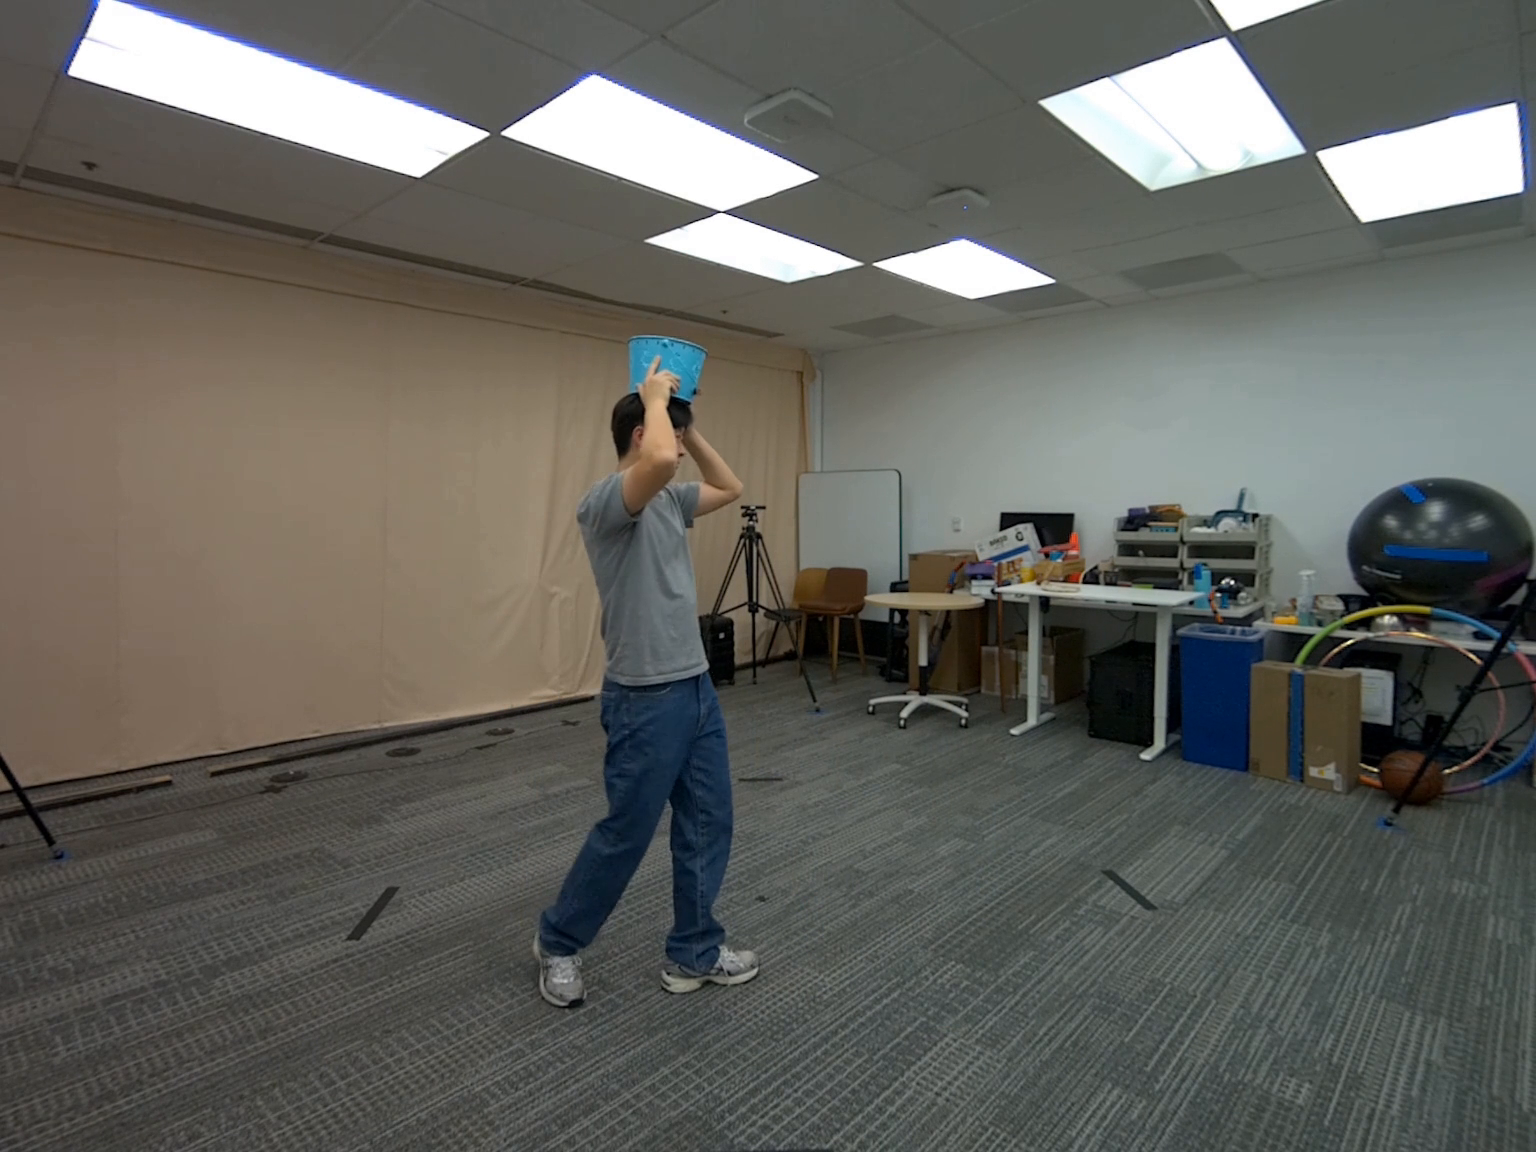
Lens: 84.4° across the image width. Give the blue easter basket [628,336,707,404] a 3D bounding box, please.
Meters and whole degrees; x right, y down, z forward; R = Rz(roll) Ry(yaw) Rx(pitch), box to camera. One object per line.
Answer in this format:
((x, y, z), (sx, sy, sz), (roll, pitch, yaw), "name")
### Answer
((-0.295, -0.586, 2.415), (0.243, 0.156, 0.244), (7, 2, -2), "blue easter basket")
